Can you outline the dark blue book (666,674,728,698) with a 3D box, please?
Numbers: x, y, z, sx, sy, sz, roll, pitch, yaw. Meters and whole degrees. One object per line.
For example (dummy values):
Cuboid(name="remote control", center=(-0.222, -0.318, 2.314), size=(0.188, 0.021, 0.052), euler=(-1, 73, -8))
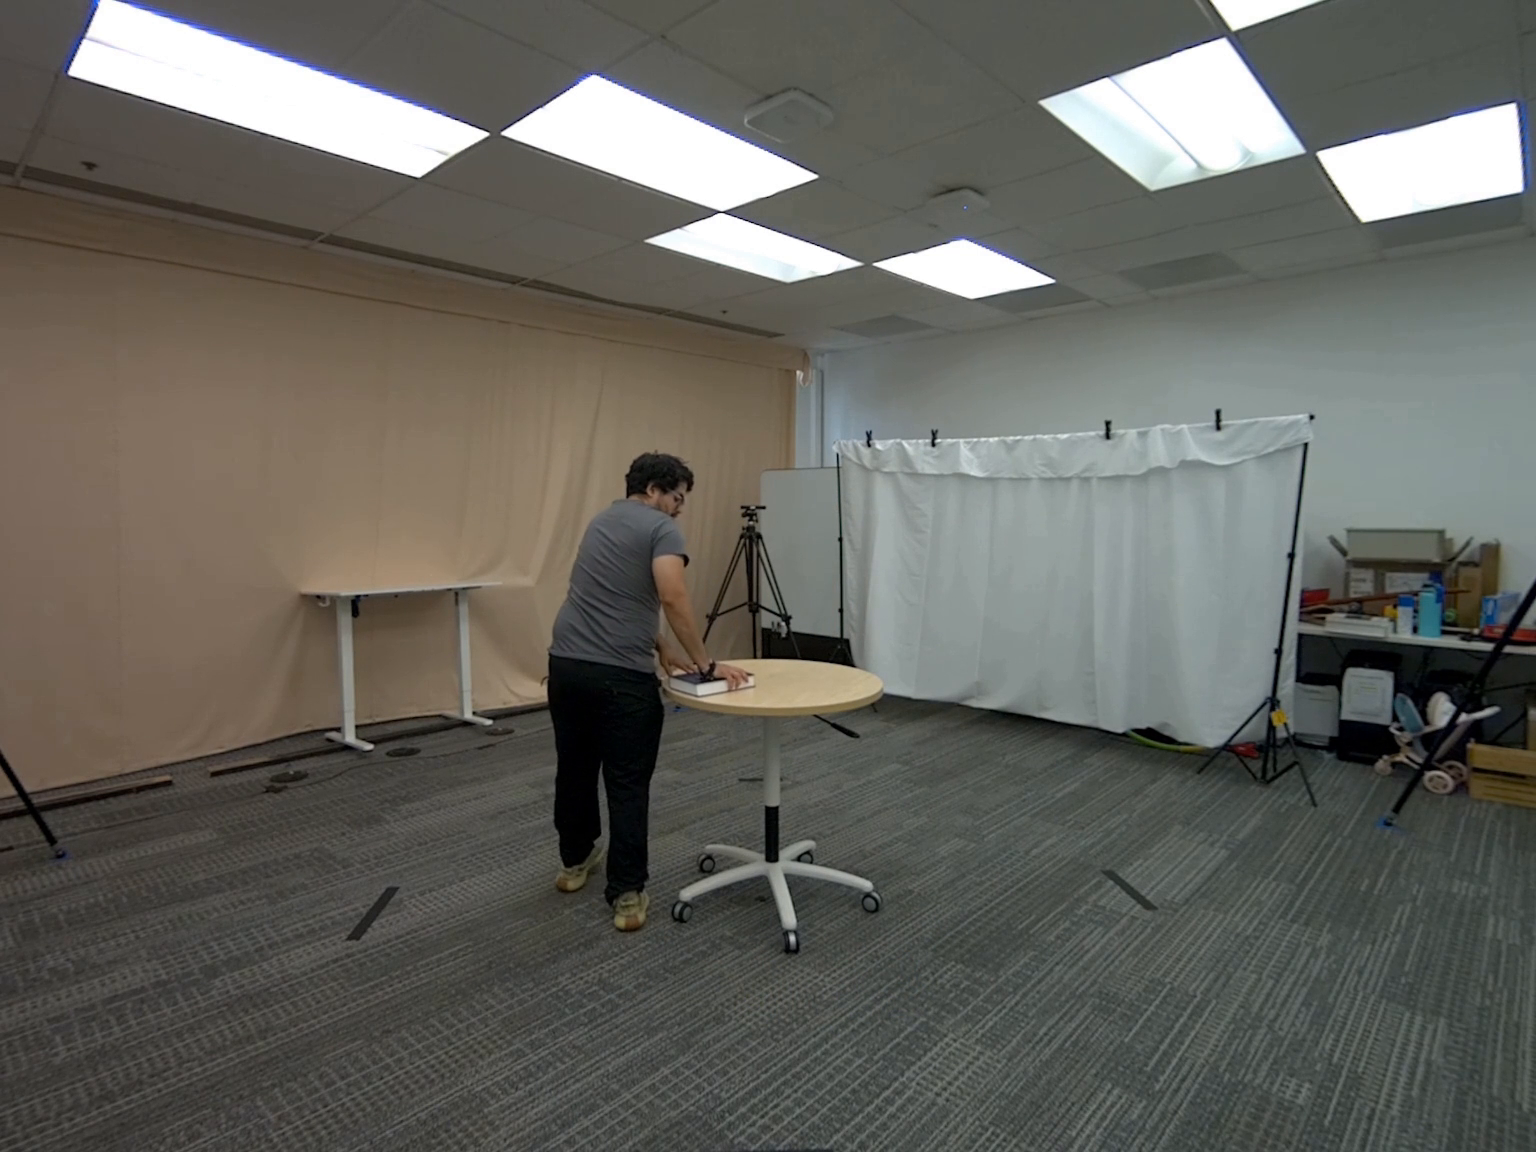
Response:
Cuboid(name="dark blue book", center=(-0.177, 0.358, 2.817), size=(0.238, 0.045, 0.169), euler=(-6, 9, -42))
